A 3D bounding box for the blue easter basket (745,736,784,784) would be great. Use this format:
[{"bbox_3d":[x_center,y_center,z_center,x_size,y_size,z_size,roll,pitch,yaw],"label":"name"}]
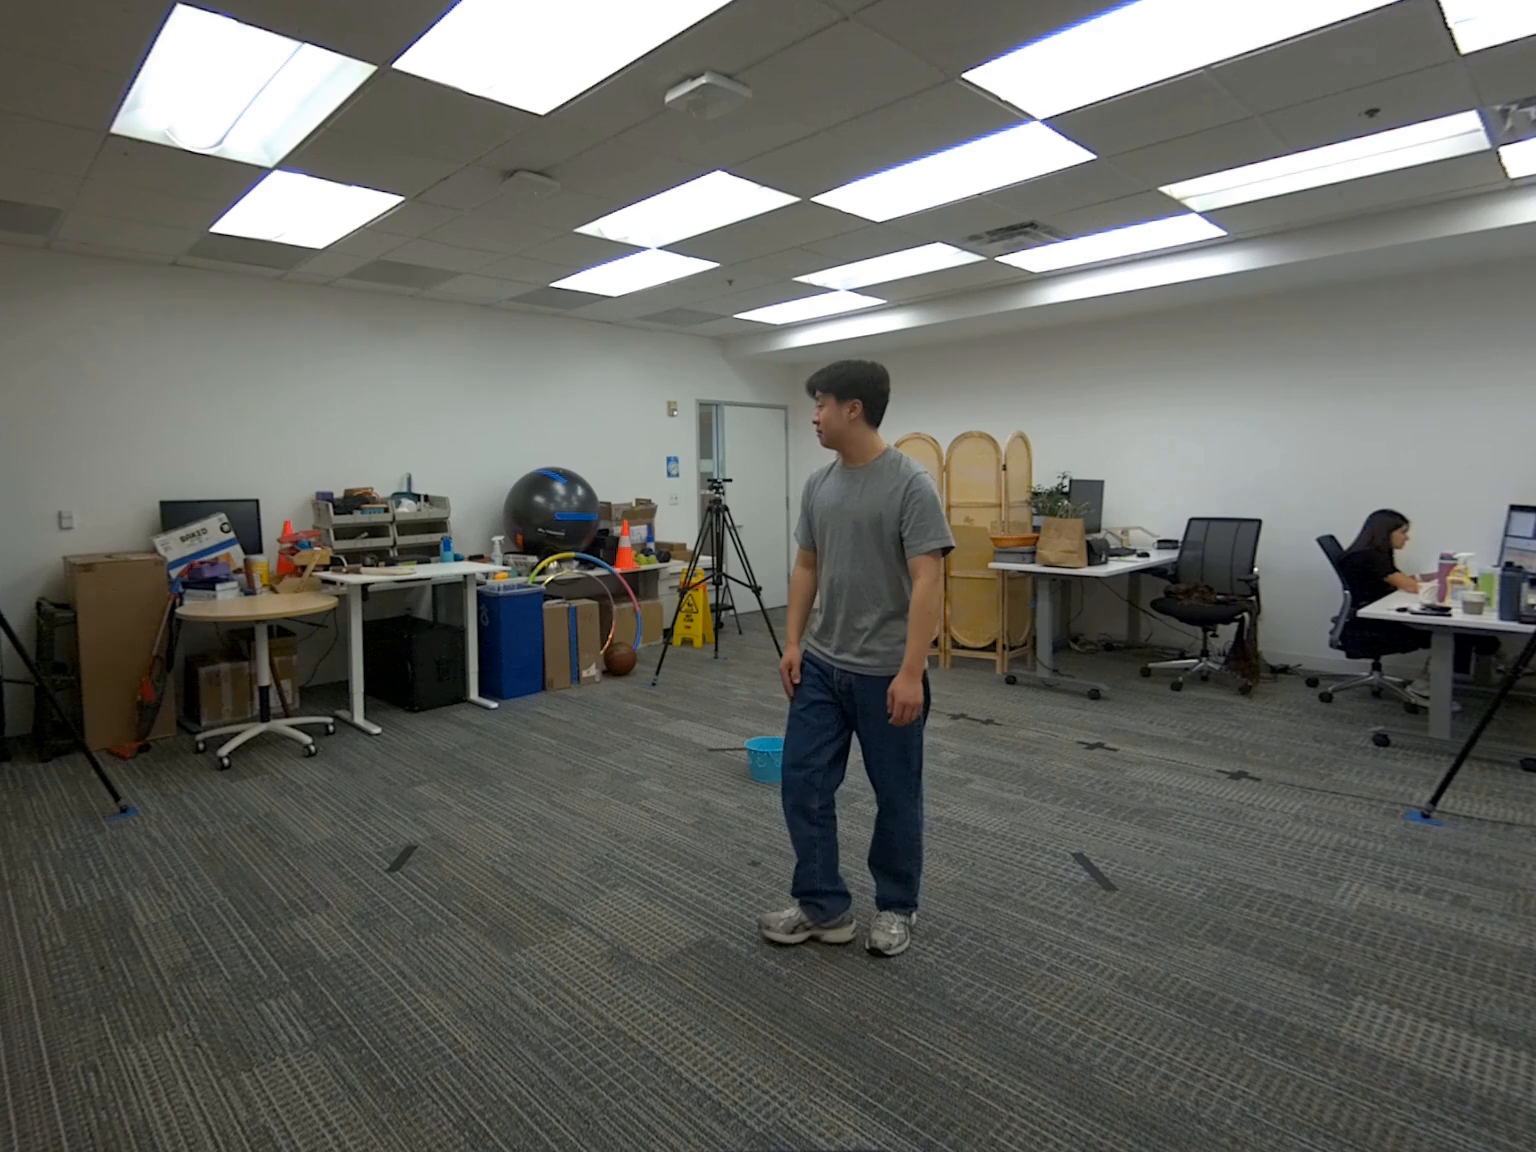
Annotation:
[{"bbox_3d":[0.010,0.863,4.022,0.243,0.155,0.245,-1,5,-2],"label":"blue easter basket"}]
